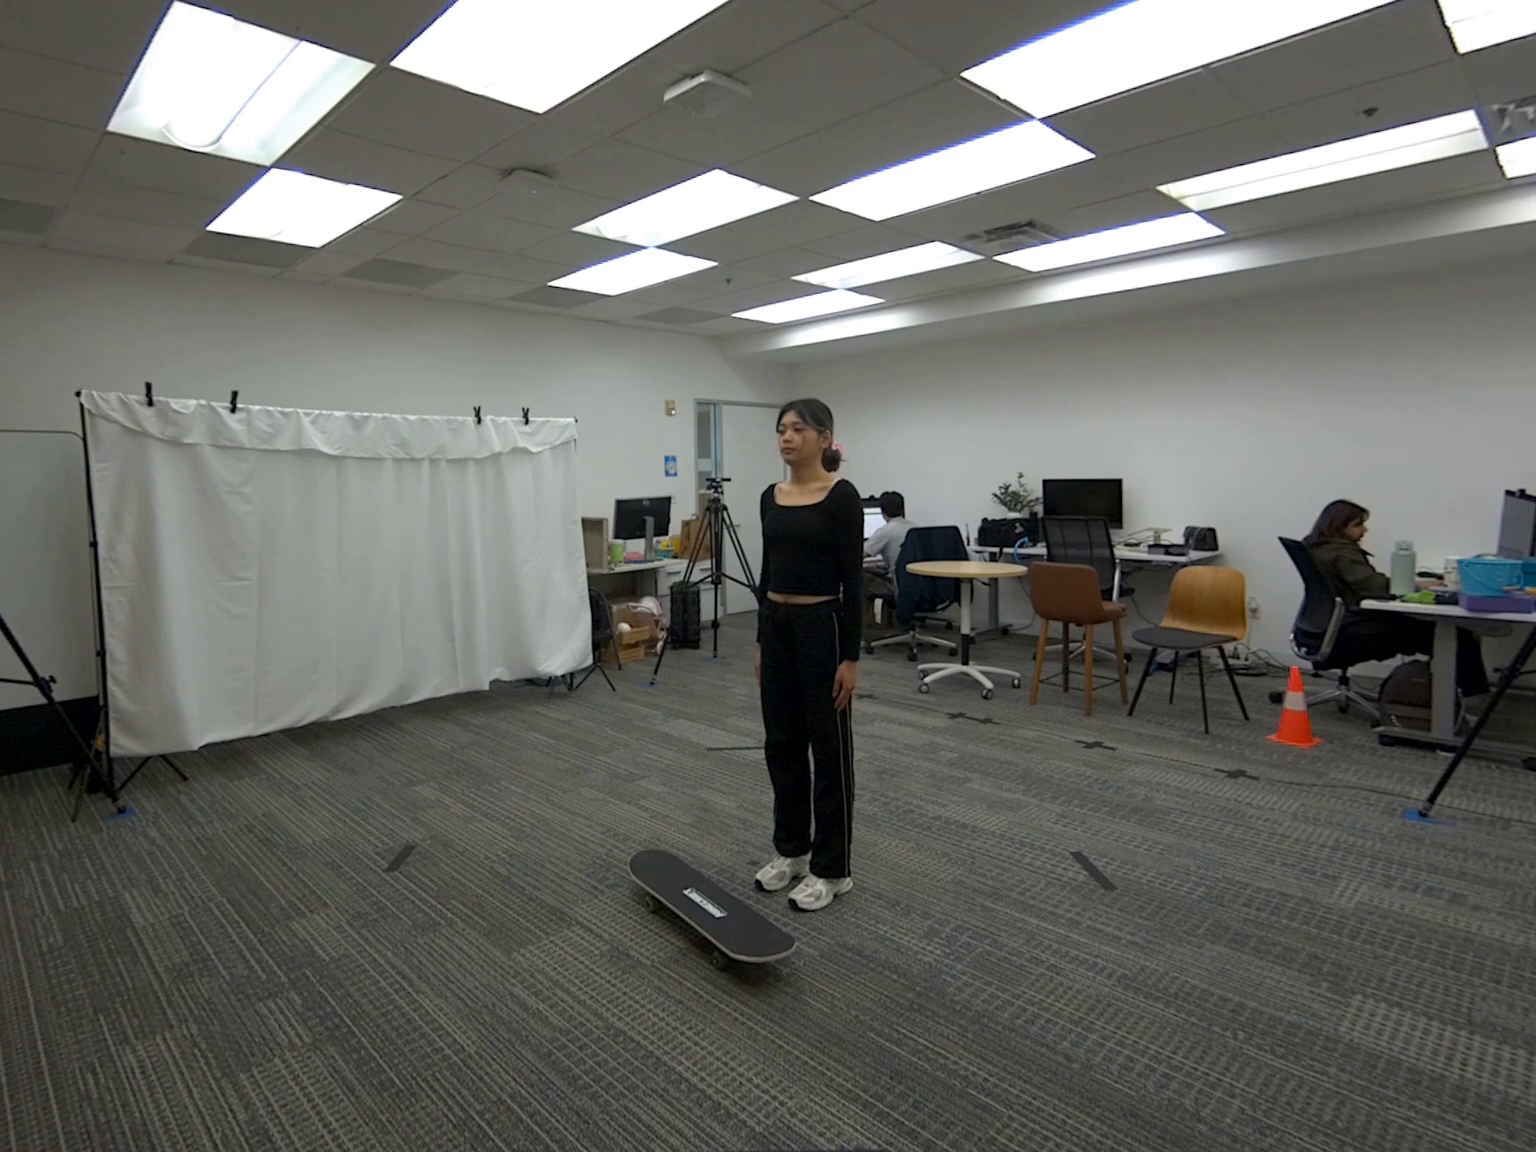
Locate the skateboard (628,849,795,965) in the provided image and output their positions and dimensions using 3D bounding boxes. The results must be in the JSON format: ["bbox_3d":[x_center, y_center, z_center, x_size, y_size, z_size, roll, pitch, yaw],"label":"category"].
[{"bbox_3d":[-0.191,1.043,2.641,0.189,0.110,0.809,-7,8,-36],"label":"skateboard"}]
